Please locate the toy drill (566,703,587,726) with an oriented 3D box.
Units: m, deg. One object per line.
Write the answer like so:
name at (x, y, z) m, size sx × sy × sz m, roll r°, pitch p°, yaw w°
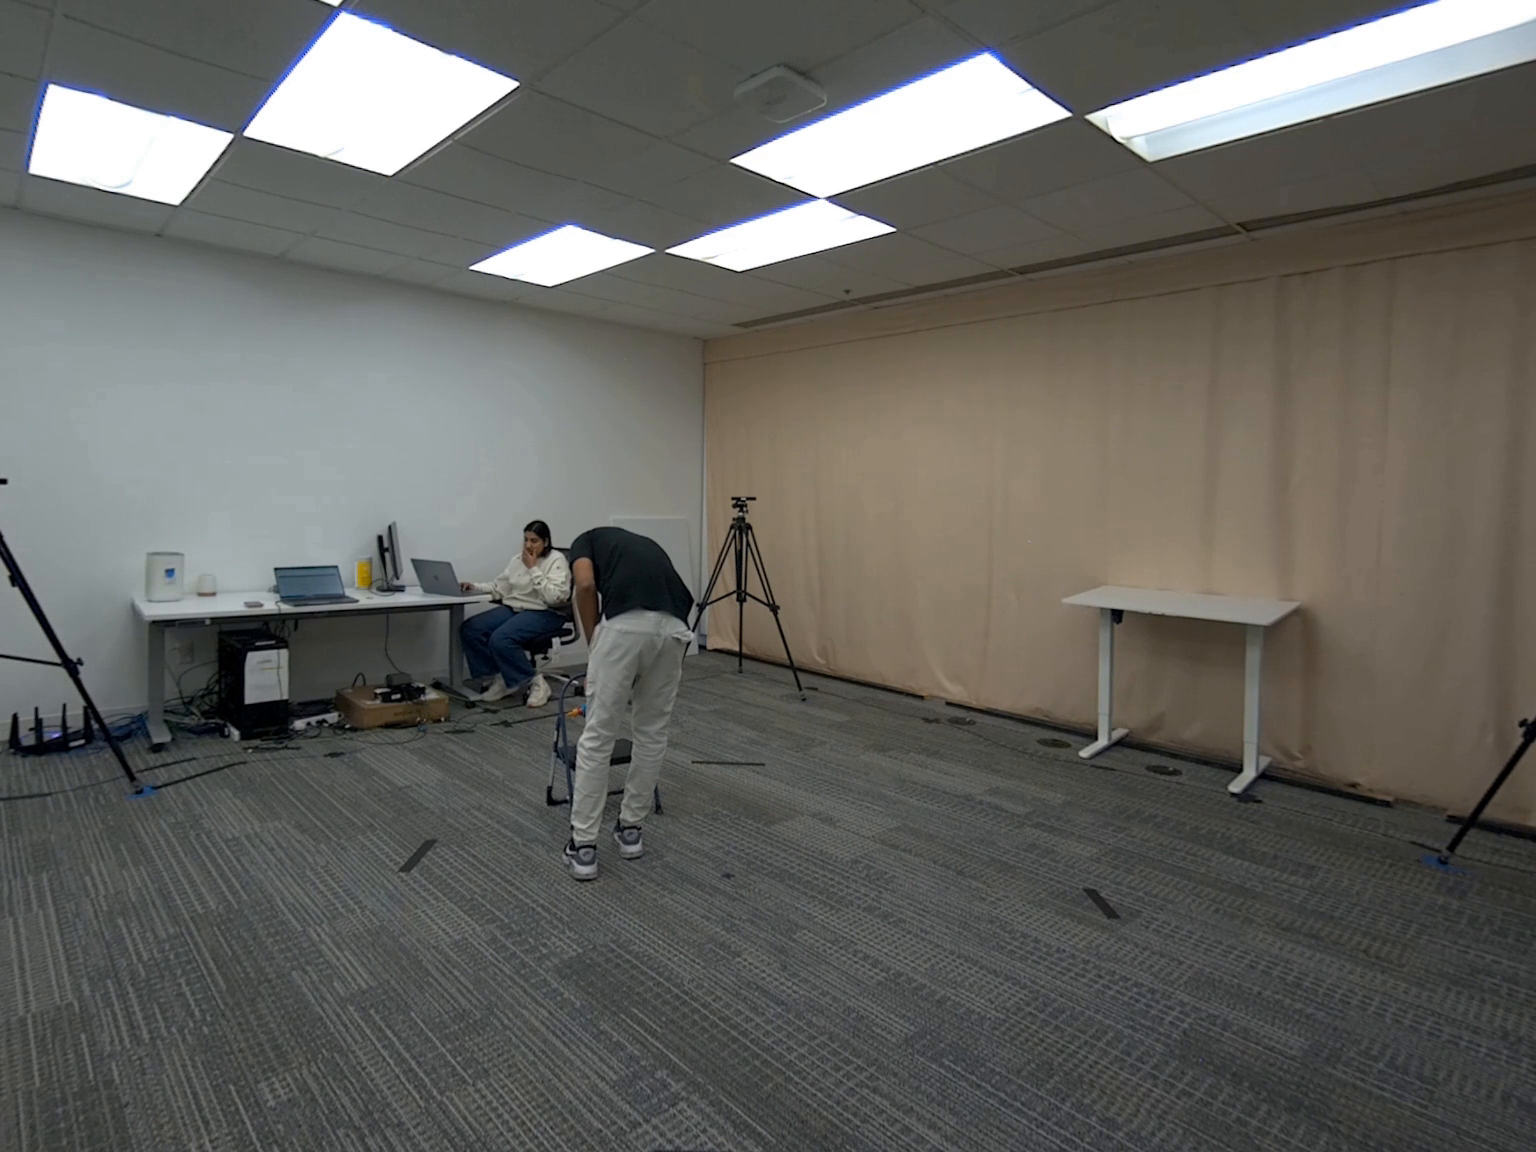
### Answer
toy drill at (-0.776, 0.589, 3.632) m, size 0.167 × 0.061 × 0.148 m, roll -2°, pitch 3°, yaw -18°
